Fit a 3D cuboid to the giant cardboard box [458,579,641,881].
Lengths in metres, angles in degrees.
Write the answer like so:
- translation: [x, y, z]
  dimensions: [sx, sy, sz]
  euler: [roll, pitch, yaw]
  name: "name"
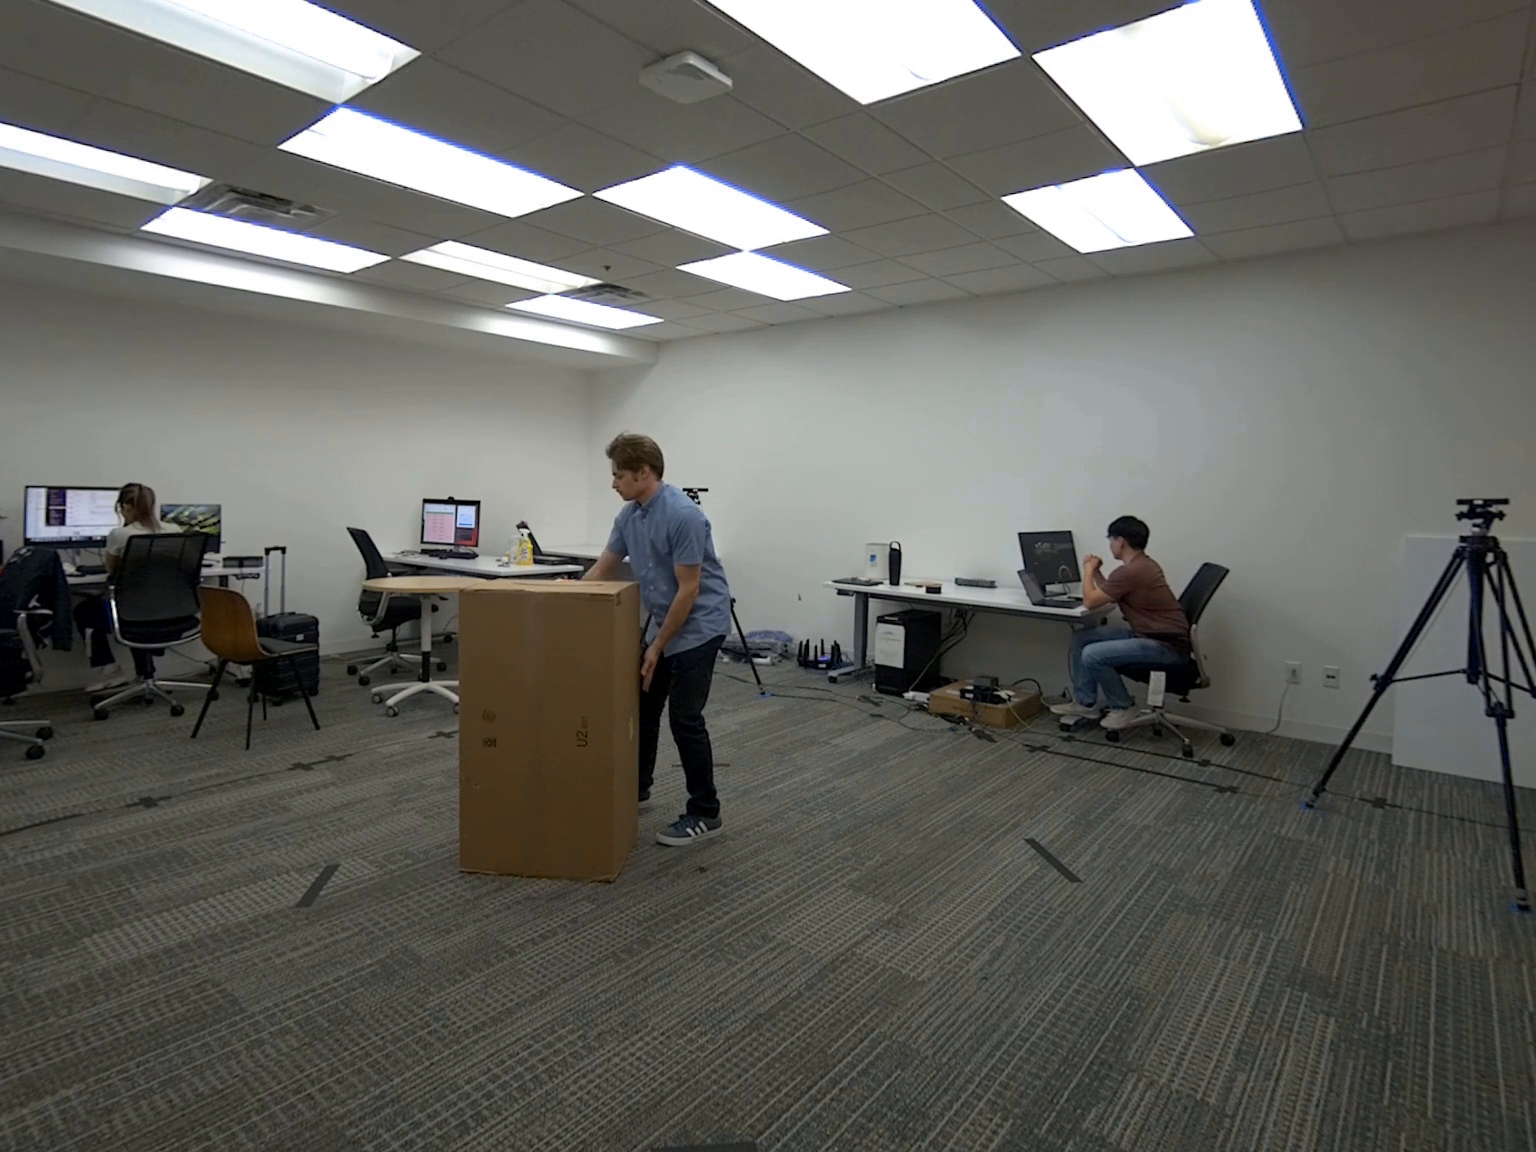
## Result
- translation: [-0.825, 0.541, 3.205]
  dimensions: [0.582, 1.024, 0.423]
  euler: [1, 2, 7]
  name: "giant cardboard box"
